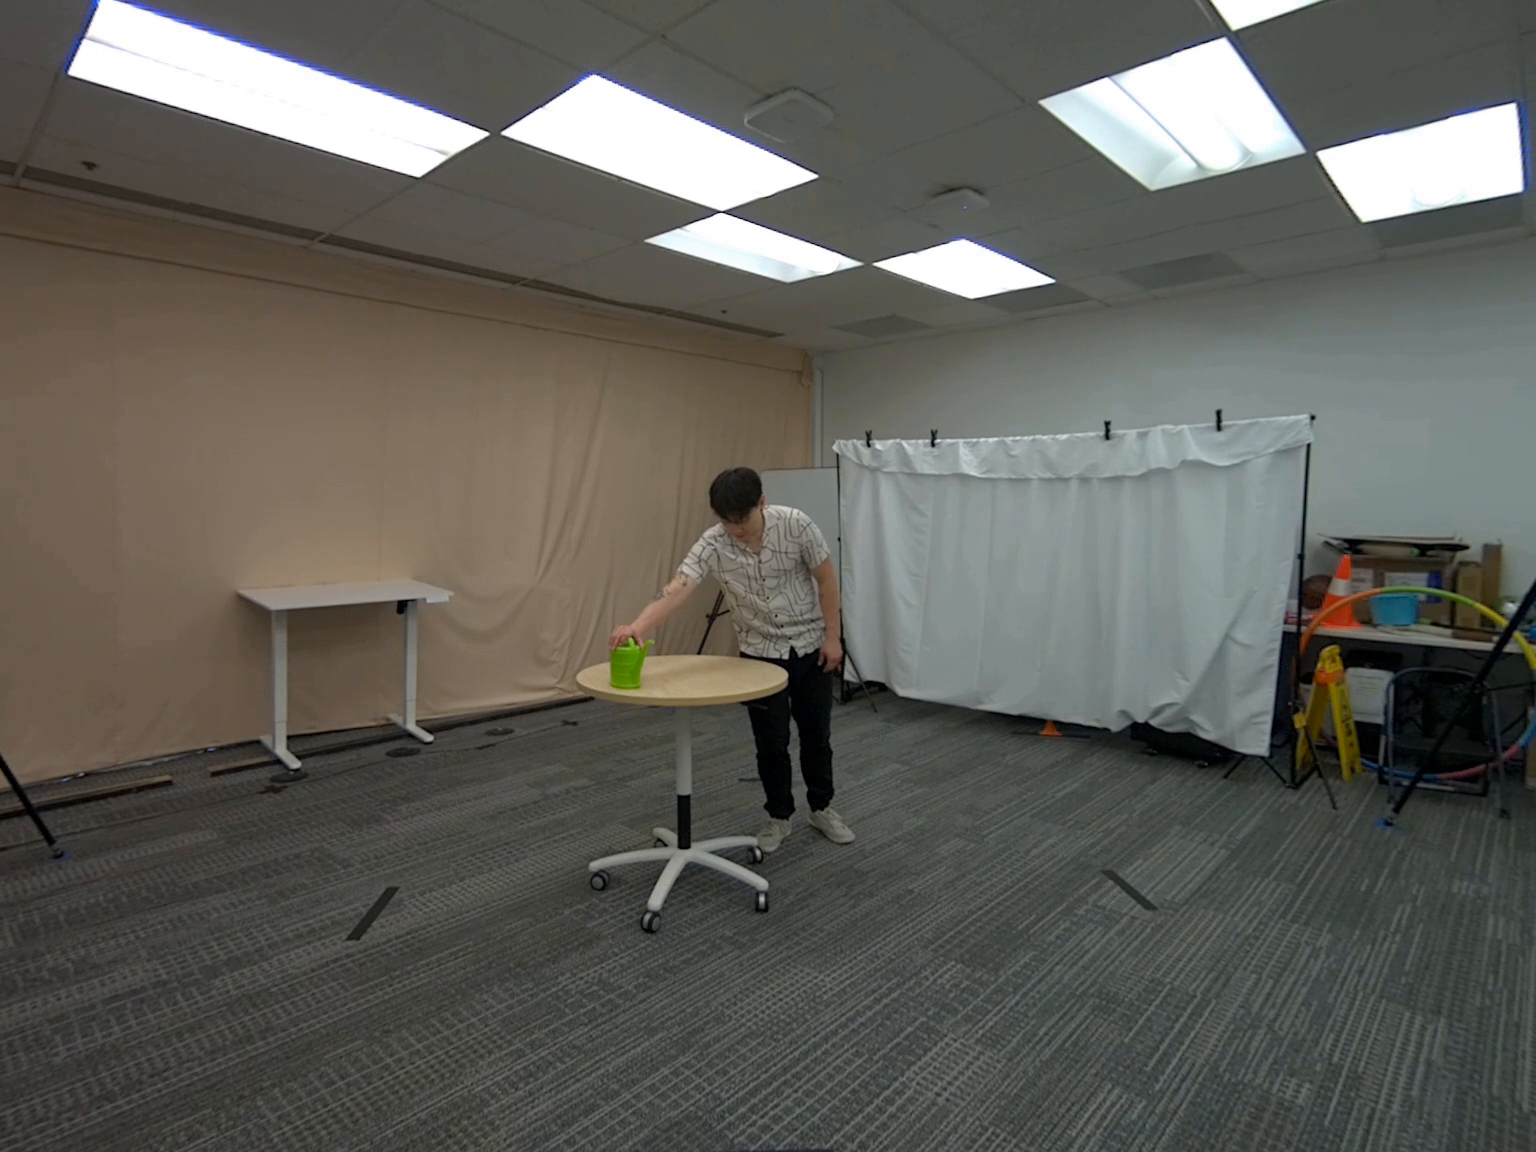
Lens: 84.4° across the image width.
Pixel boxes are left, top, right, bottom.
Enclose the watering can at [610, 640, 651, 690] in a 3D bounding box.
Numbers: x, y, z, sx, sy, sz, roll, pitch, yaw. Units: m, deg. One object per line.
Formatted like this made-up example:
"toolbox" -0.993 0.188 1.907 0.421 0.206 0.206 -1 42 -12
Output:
"watering can" -0.464 0.289 2.817 0.096 0.177 0.284 2 -1 -23
